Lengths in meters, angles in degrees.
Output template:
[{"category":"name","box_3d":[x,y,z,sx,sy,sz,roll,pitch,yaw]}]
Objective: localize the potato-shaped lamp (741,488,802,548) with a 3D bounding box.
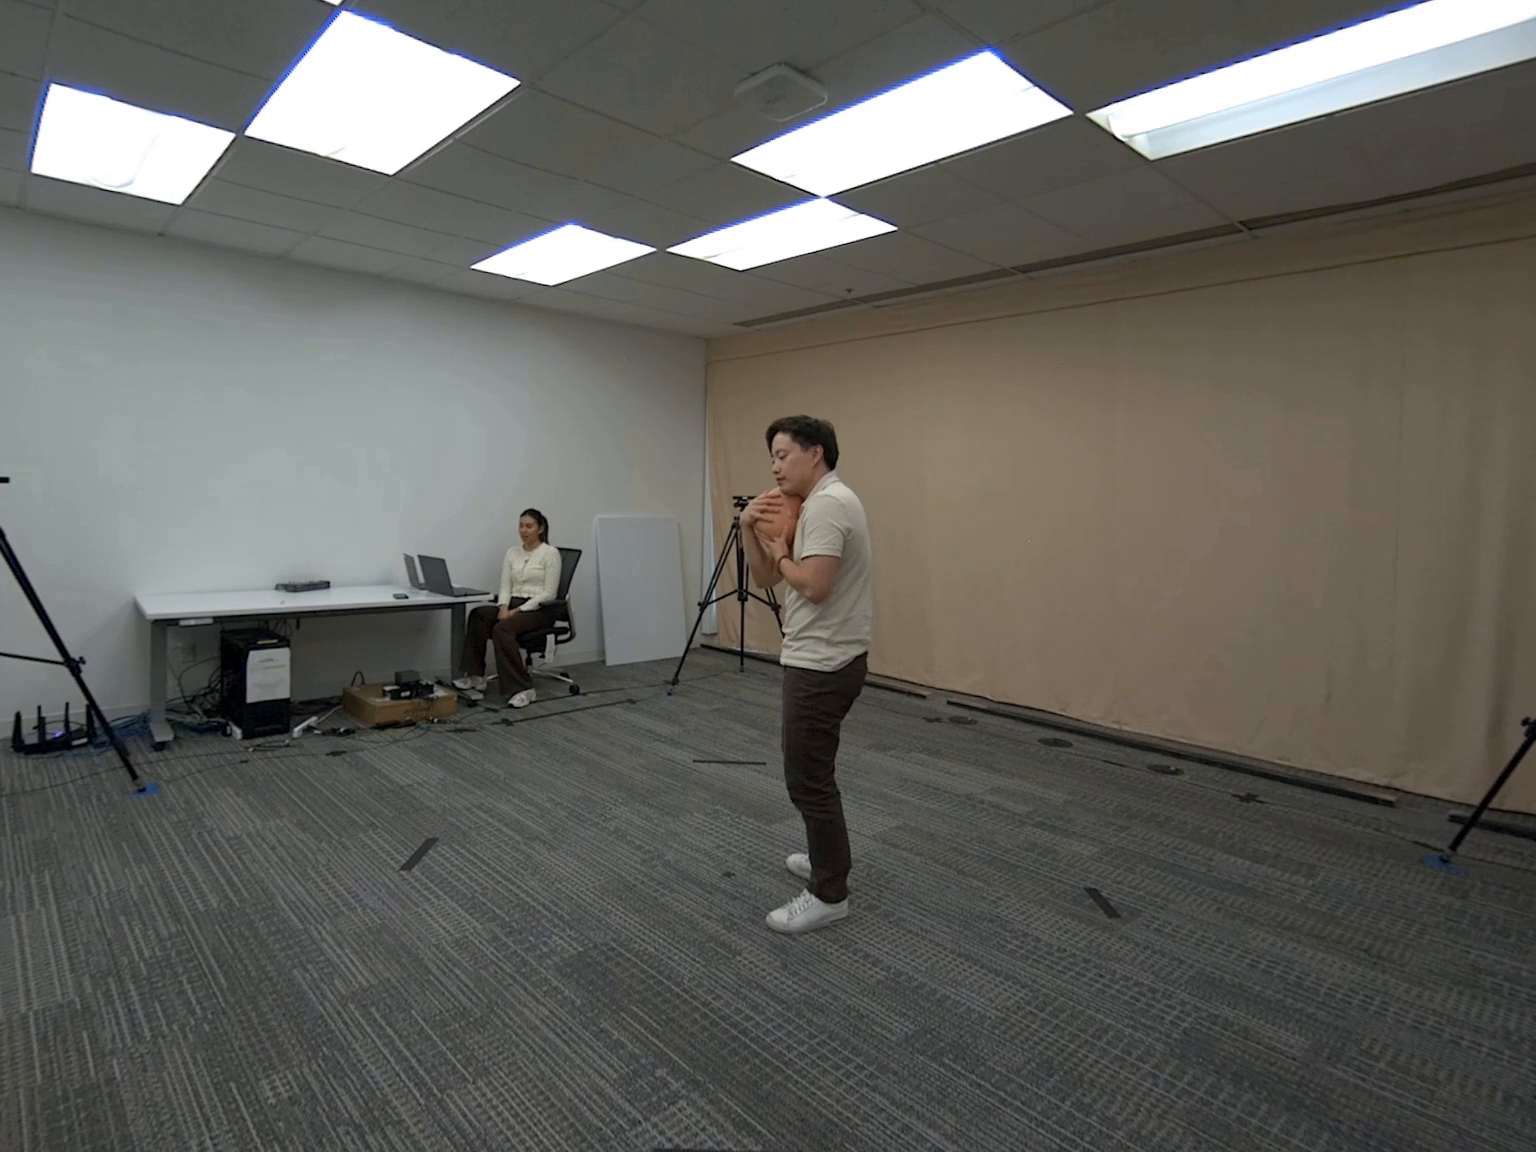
[{"category":"potato-shaped lamp","box_3d":[0.055,-0.202,2.843,0.168,0.198,0.167,39,-4,-17]}]
